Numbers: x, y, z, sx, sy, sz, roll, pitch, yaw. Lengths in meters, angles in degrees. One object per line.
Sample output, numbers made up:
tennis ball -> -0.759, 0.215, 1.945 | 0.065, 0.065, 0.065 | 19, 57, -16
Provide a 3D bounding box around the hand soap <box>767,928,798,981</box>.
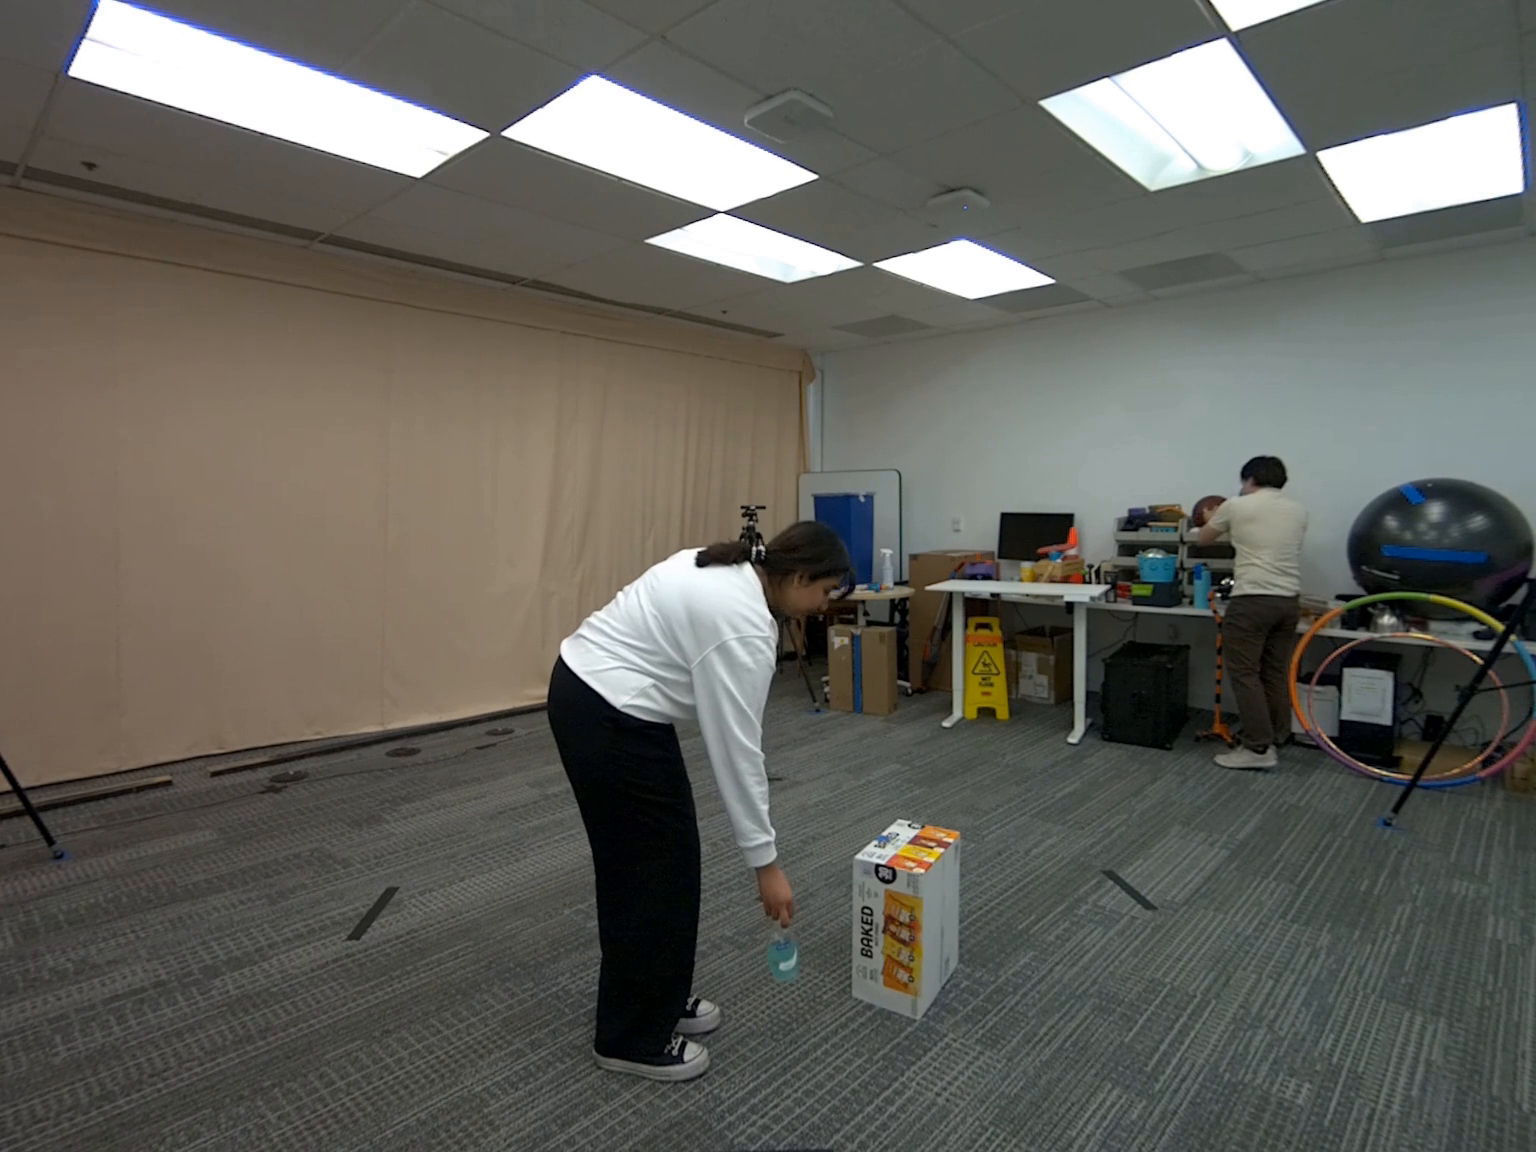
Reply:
hand soap -> 0.034, 0.931, 2.037 | 0.085, 0.168, 0.043 | 8, -3, 10
